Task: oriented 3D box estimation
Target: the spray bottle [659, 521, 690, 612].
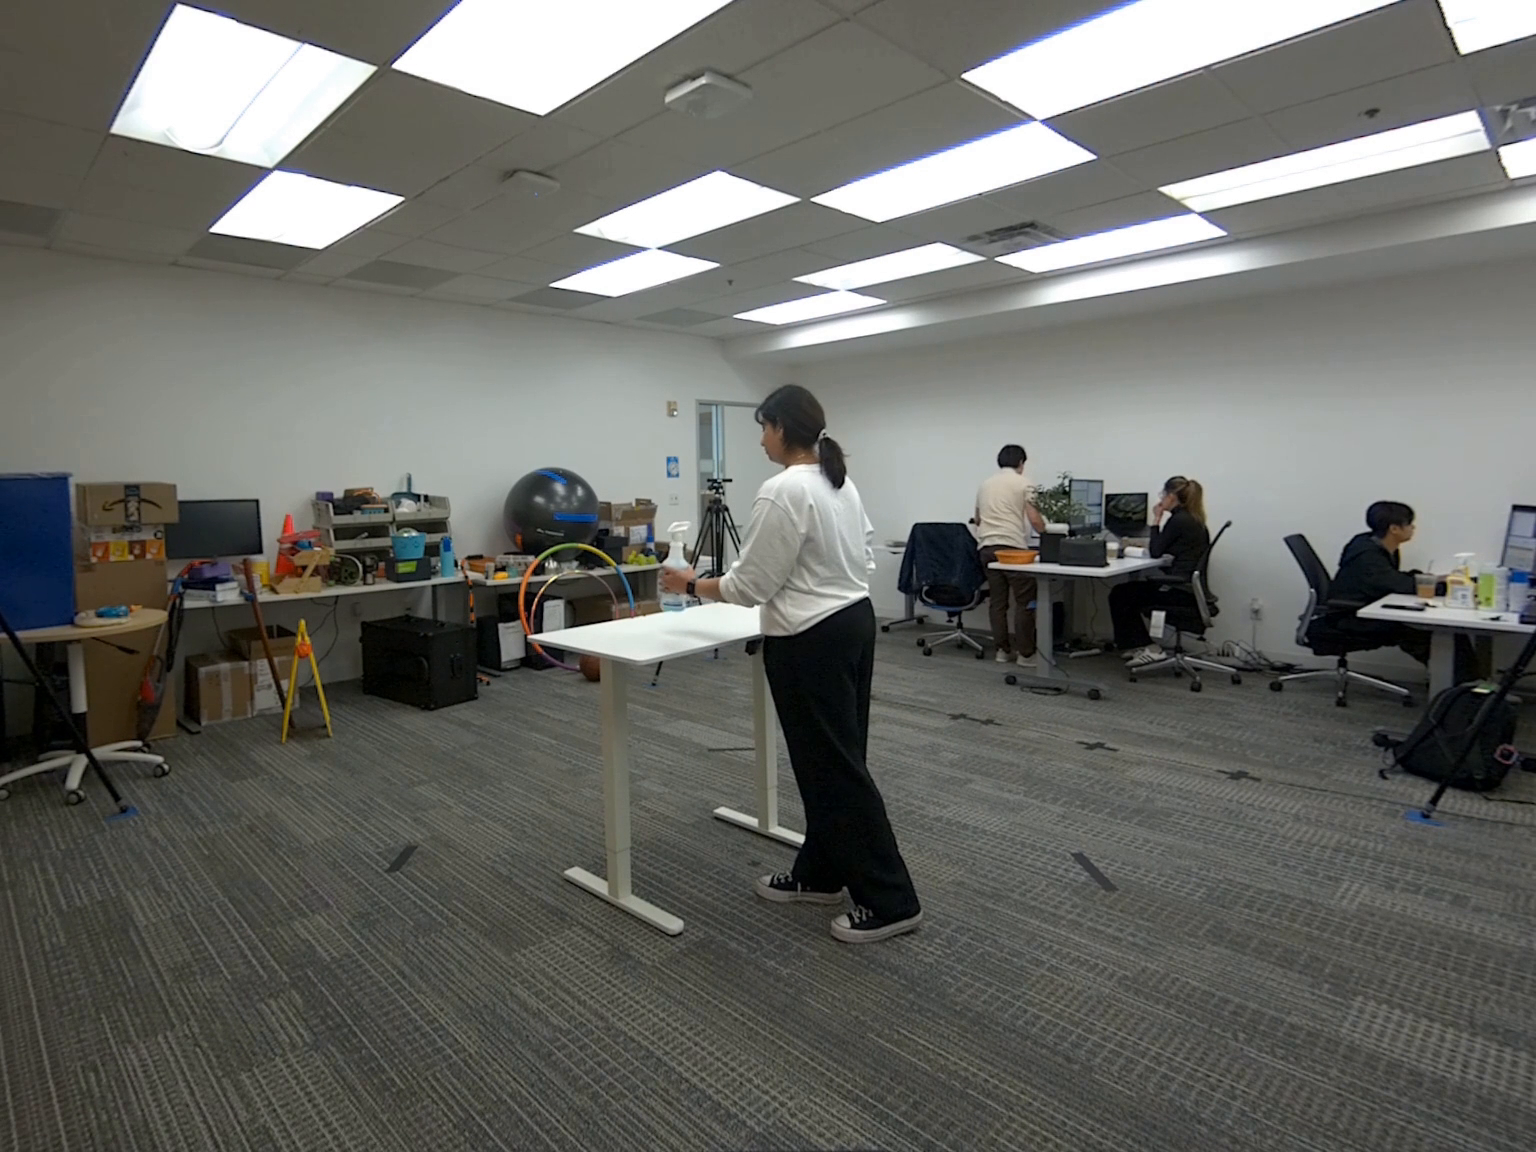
[{"bbox_3d":[-0.301,-0.034,2.860,0.088,0.295,0.089,1,10,-19],"label":"spray bottle"}]
